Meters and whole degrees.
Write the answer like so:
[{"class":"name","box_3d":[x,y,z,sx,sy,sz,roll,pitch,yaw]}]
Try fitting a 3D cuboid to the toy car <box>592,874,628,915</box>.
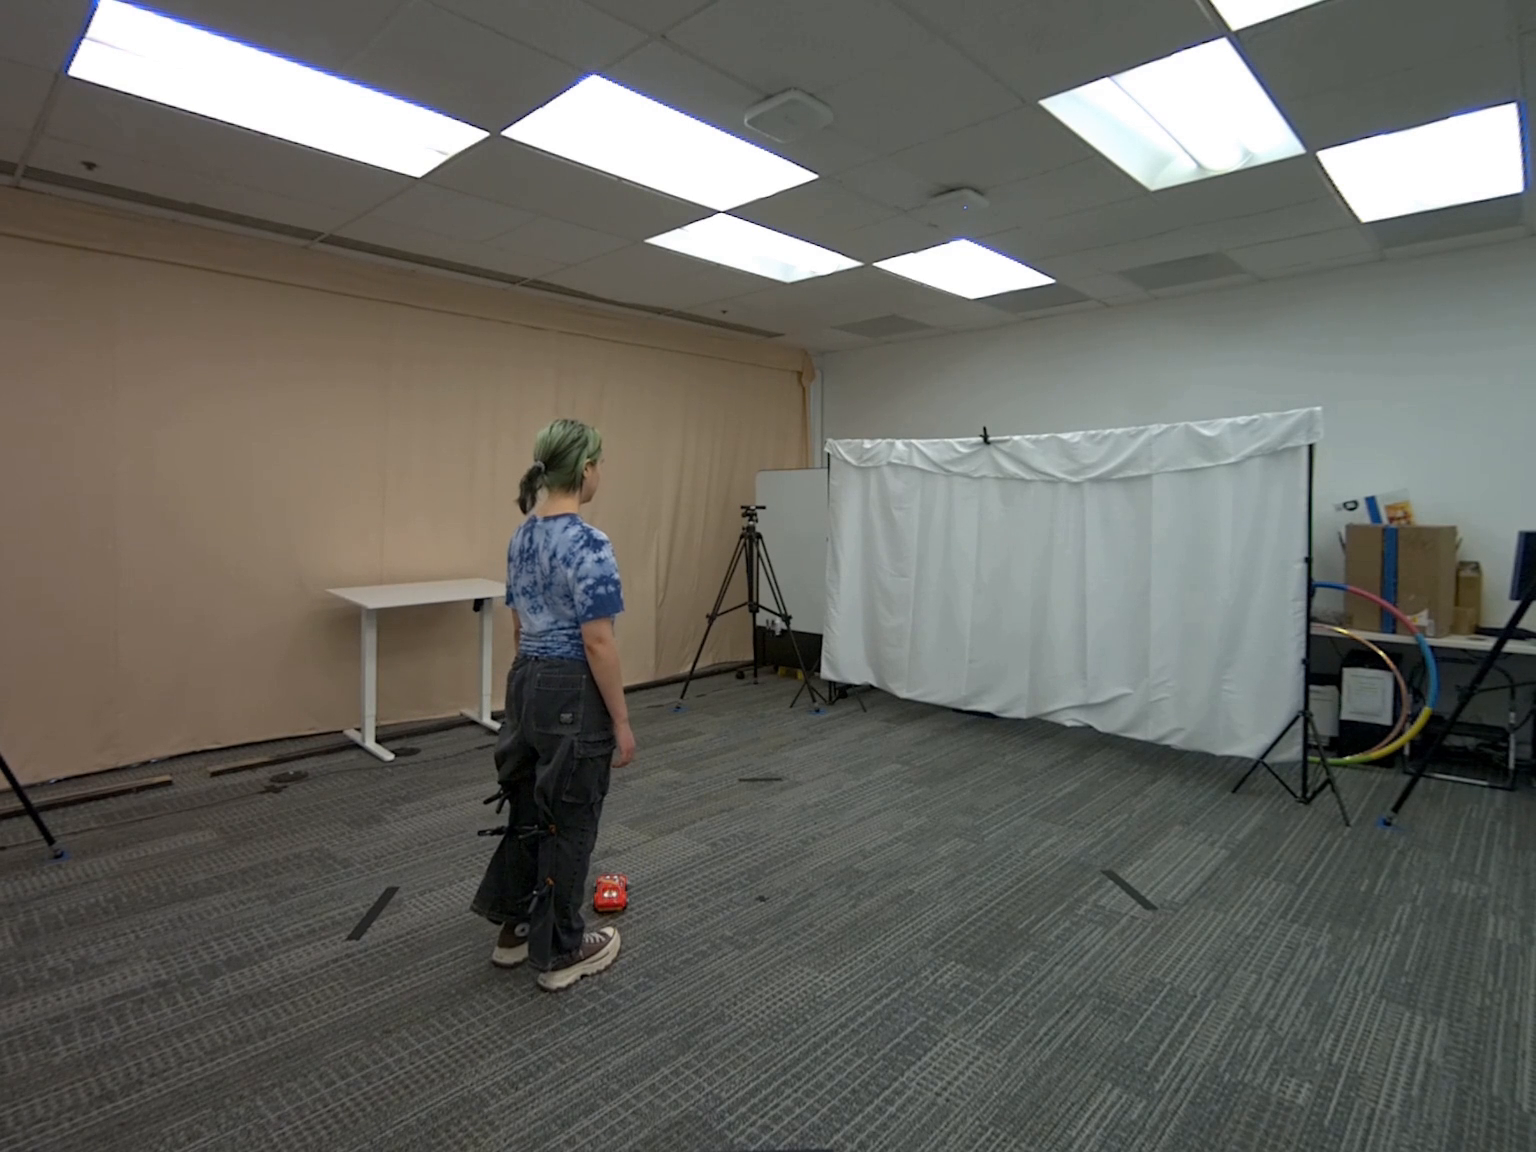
[{"class":"toy car","box_3d":[-0.556,1.119,2.960,0.129,0.083,0.255,1,-7,-7]}]
